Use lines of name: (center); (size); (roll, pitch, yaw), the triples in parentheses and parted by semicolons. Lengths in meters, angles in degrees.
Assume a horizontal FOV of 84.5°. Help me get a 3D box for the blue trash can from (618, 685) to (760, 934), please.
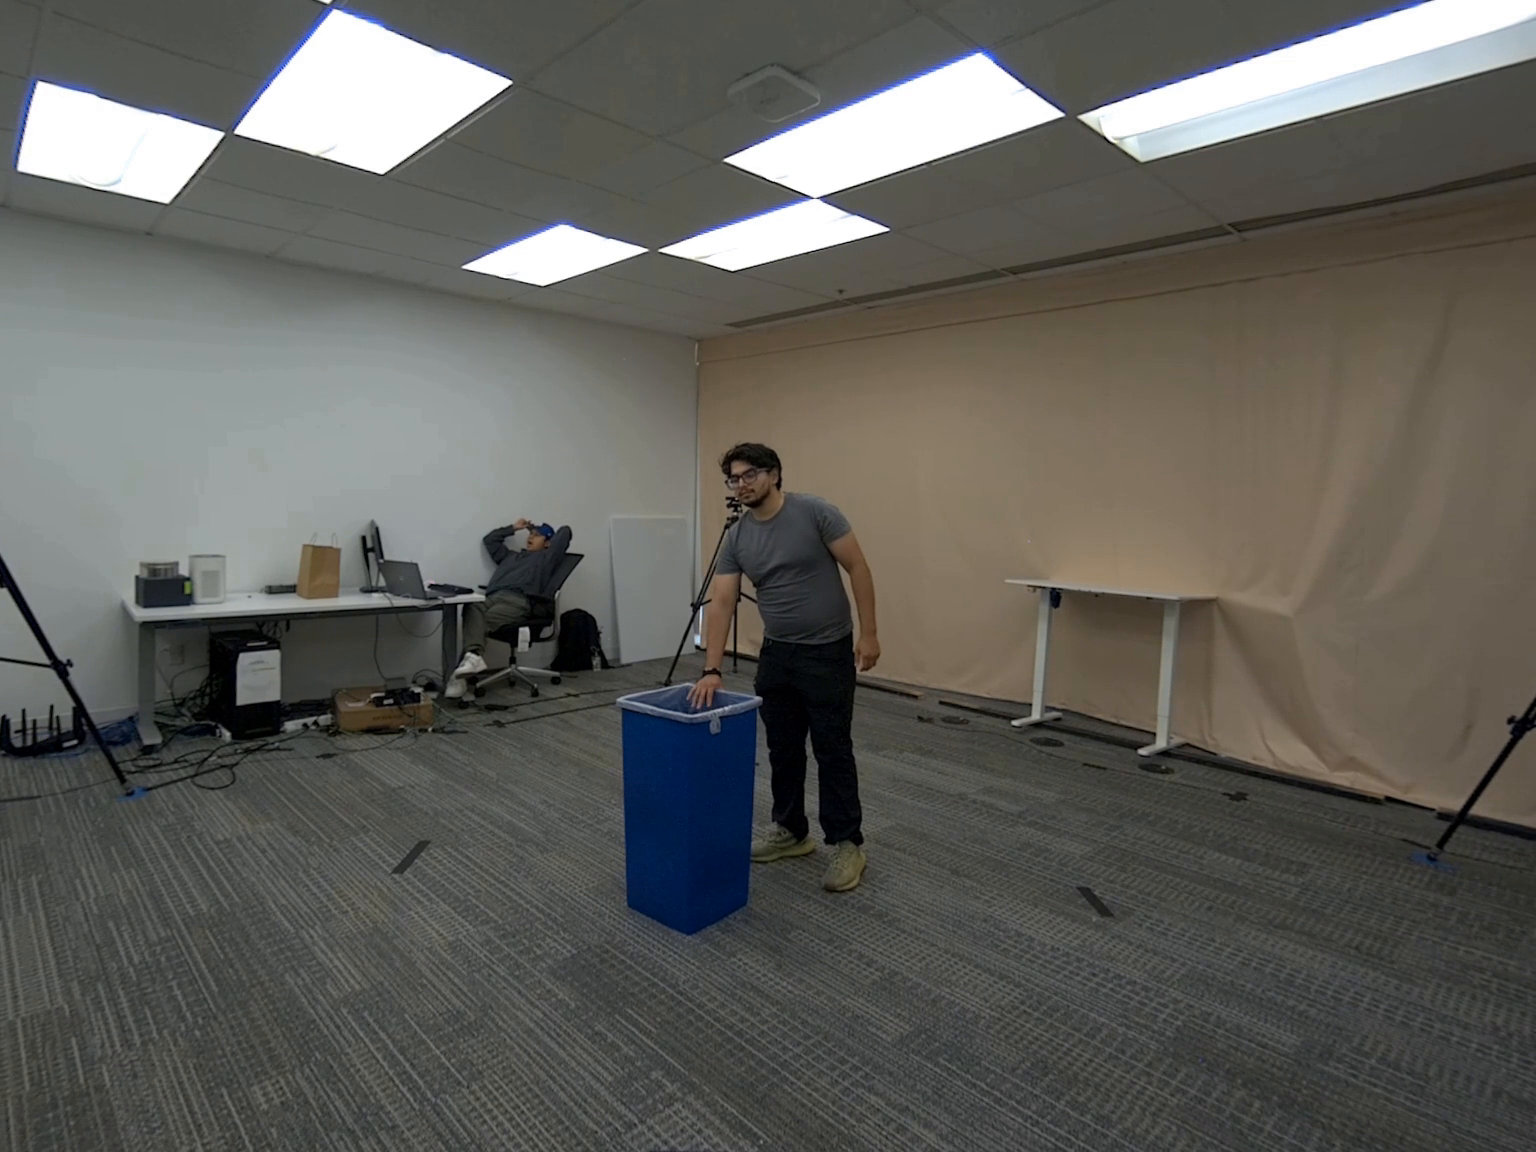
blue trash can: (-0.284, 0.768, 2.861); (0.383, 0.712, 0.369); (4, 4, 40)
